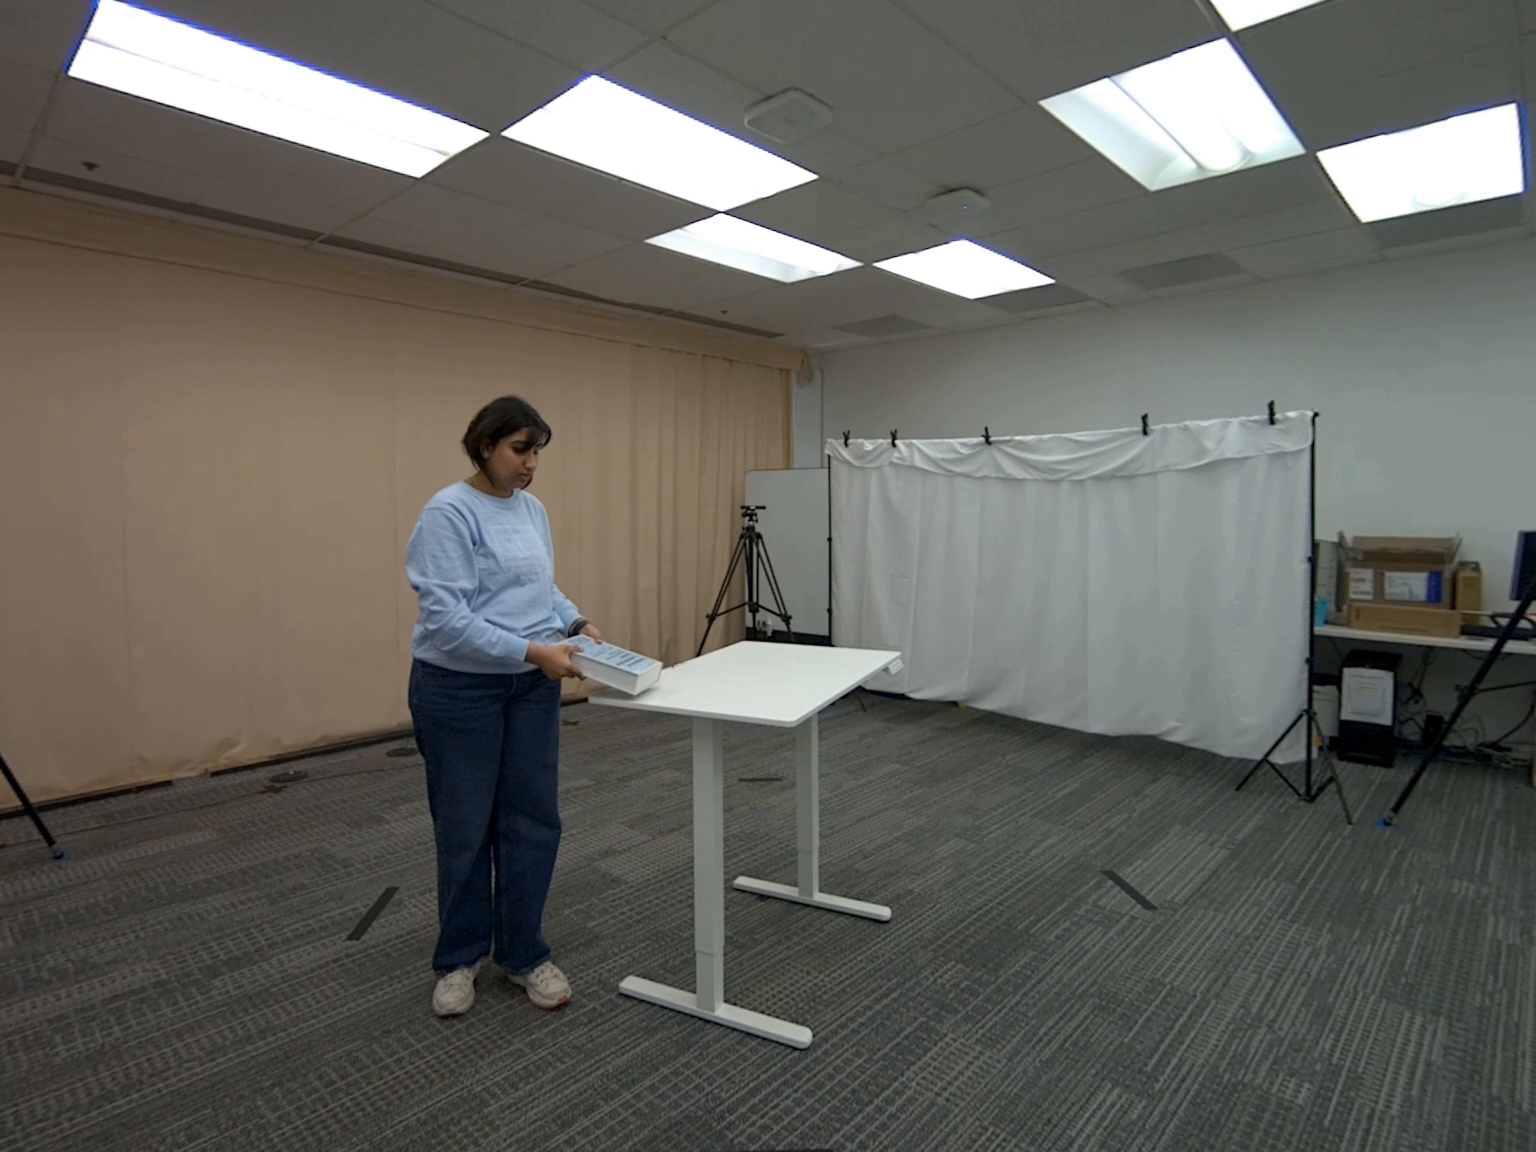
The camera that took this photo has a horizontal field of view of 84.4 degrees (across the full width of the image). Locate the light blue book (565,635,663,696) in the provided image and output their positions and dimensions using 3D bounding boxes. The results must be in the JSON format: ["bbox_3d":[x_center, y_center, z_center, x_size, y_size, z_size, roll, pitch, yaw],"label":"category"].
[{"bbox_3d":[-0.434,0.242,2.292,0.264,0.059,0.189,15,6,10],"label":"light blue book"}]
